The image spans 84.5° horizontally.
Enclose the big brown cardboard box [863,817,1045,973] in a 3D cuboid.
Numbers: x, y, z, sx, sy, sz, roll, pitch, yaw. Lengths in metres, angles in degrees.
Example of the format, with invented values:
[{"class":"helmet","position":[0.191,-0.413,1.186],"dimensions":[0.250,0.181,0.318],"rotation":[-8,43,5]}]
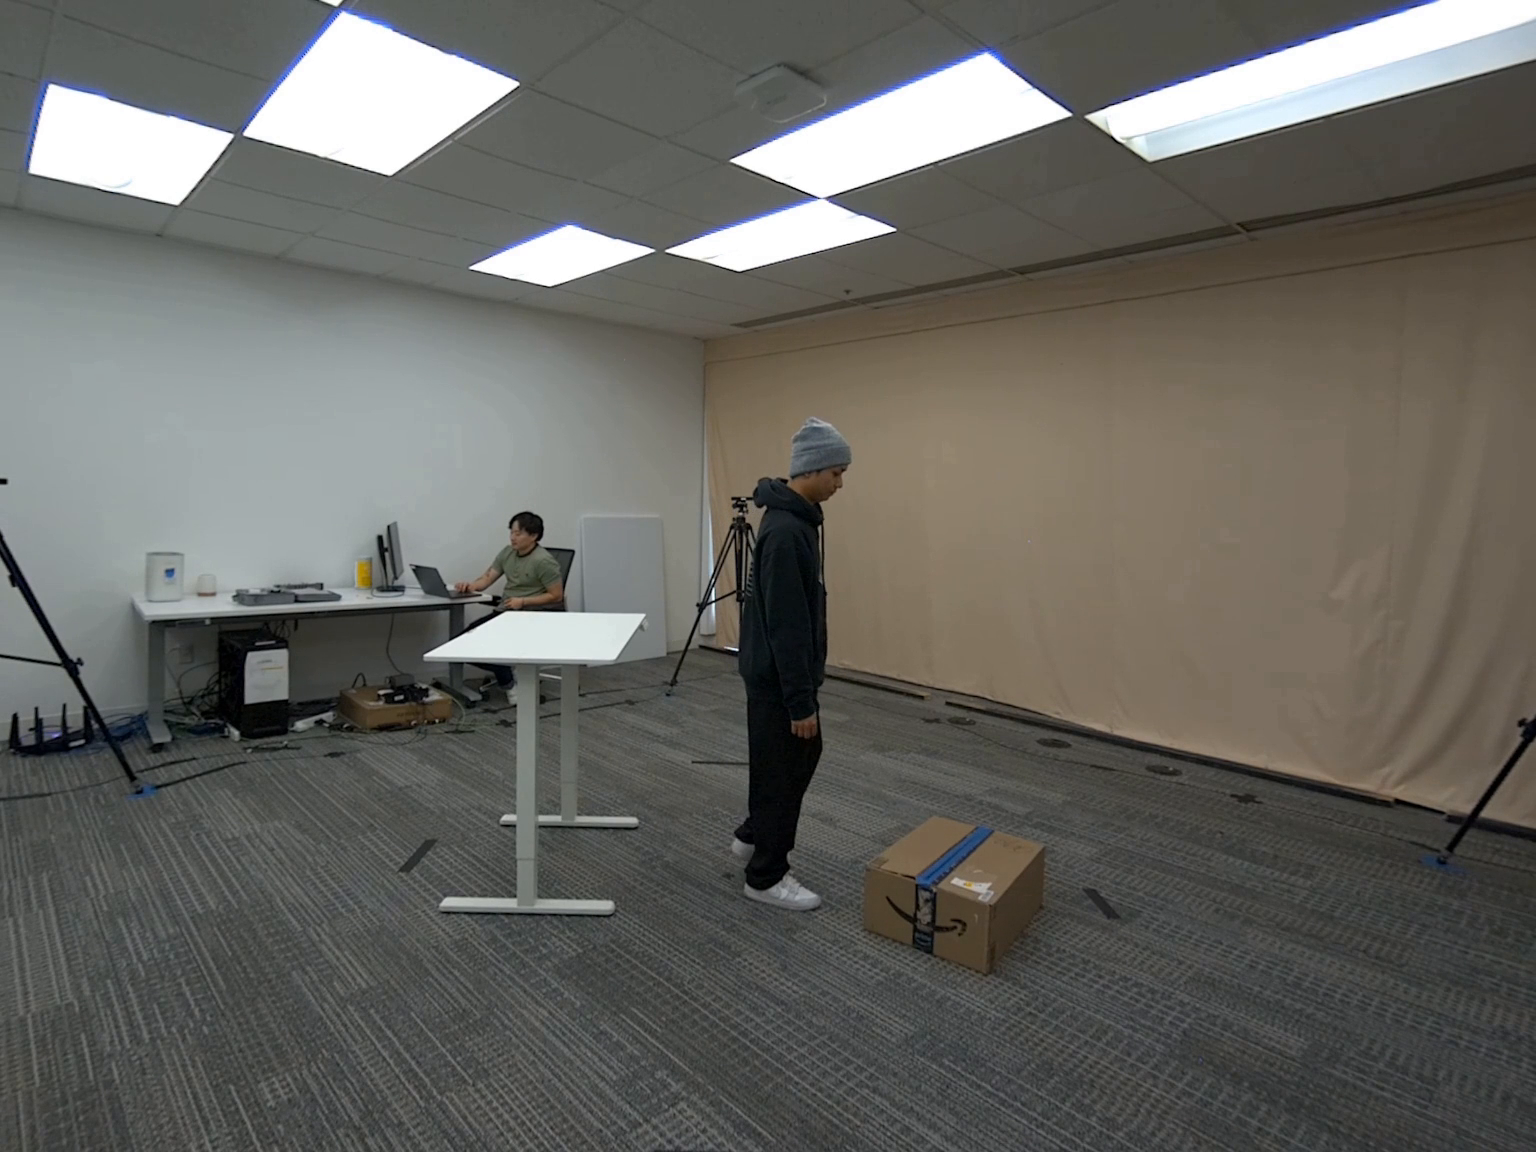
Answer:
[{"class":"big brown cardboard box","position":[0.629,1.041,2.828],"dimensions":[0.427,0.232,0.576],"rotation":[5,5,34]}]
